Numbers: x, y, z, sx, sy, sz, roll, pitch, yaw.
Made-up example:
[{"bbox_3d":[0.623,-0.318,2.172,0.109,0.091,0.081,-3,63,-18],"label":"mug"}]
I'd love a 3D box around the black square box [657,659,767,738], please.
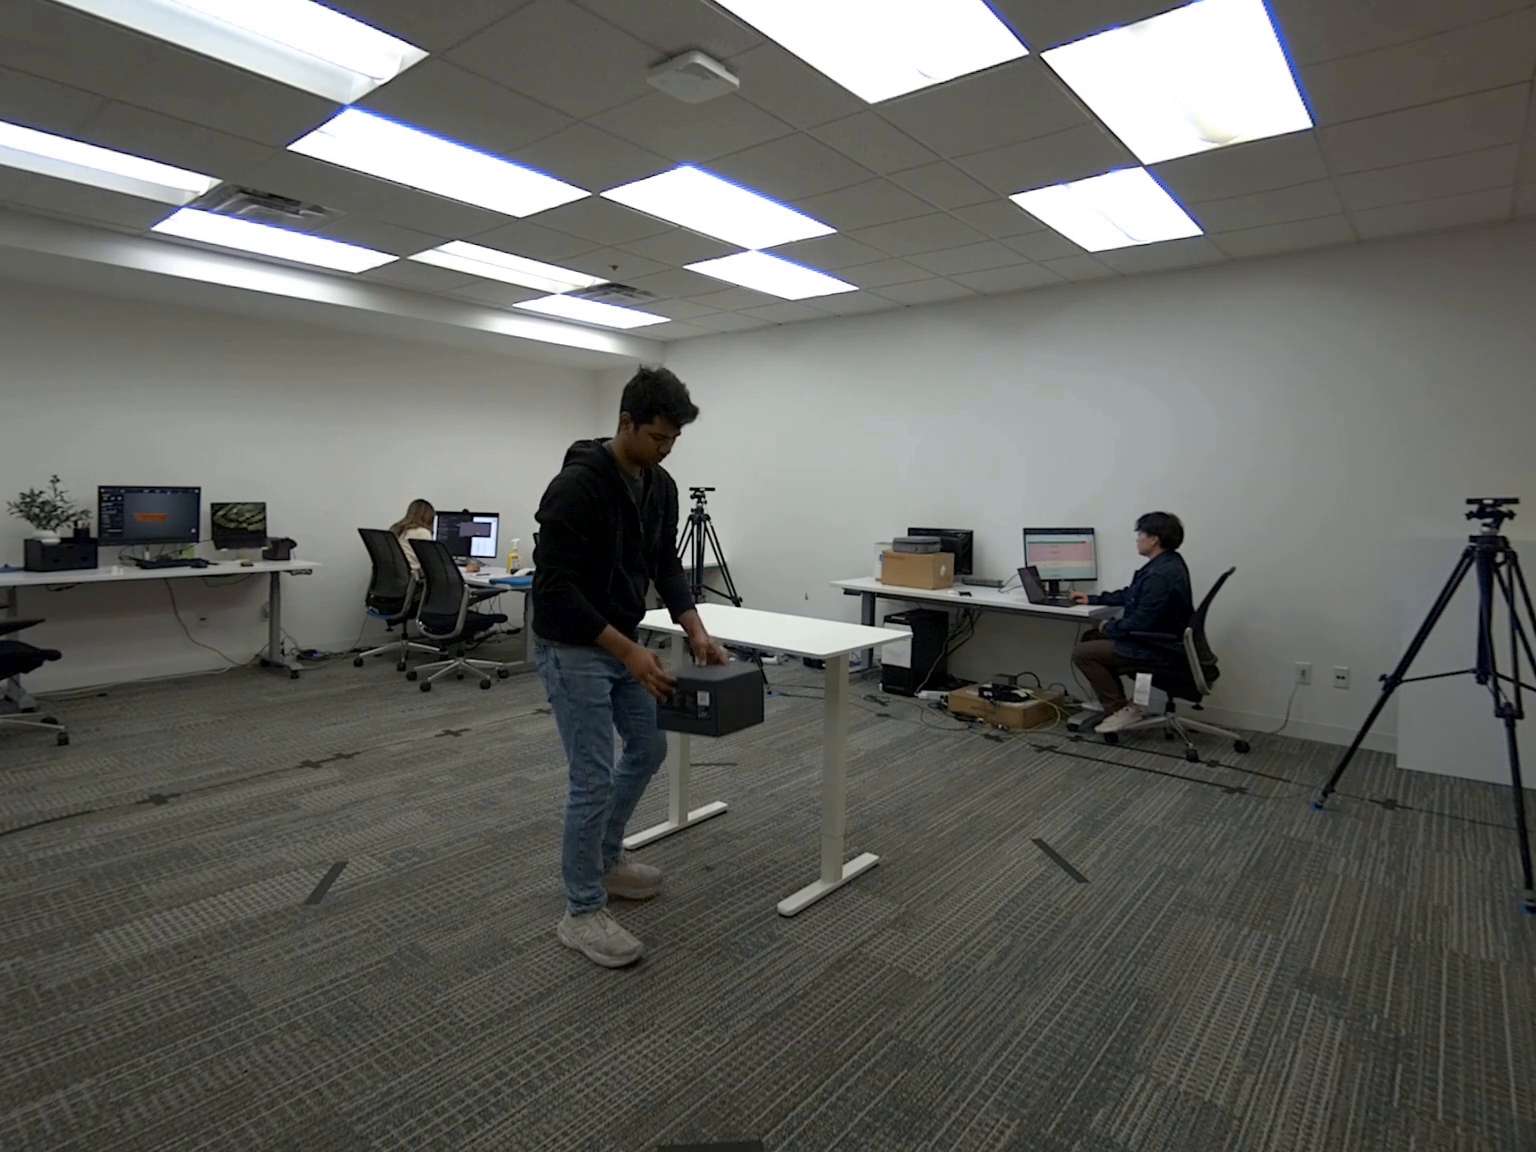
[{"bbox_3d":[-0.165,0.353,2.417,0.223,0.156,0.222,0,3,34],"label":"black square box"}]
